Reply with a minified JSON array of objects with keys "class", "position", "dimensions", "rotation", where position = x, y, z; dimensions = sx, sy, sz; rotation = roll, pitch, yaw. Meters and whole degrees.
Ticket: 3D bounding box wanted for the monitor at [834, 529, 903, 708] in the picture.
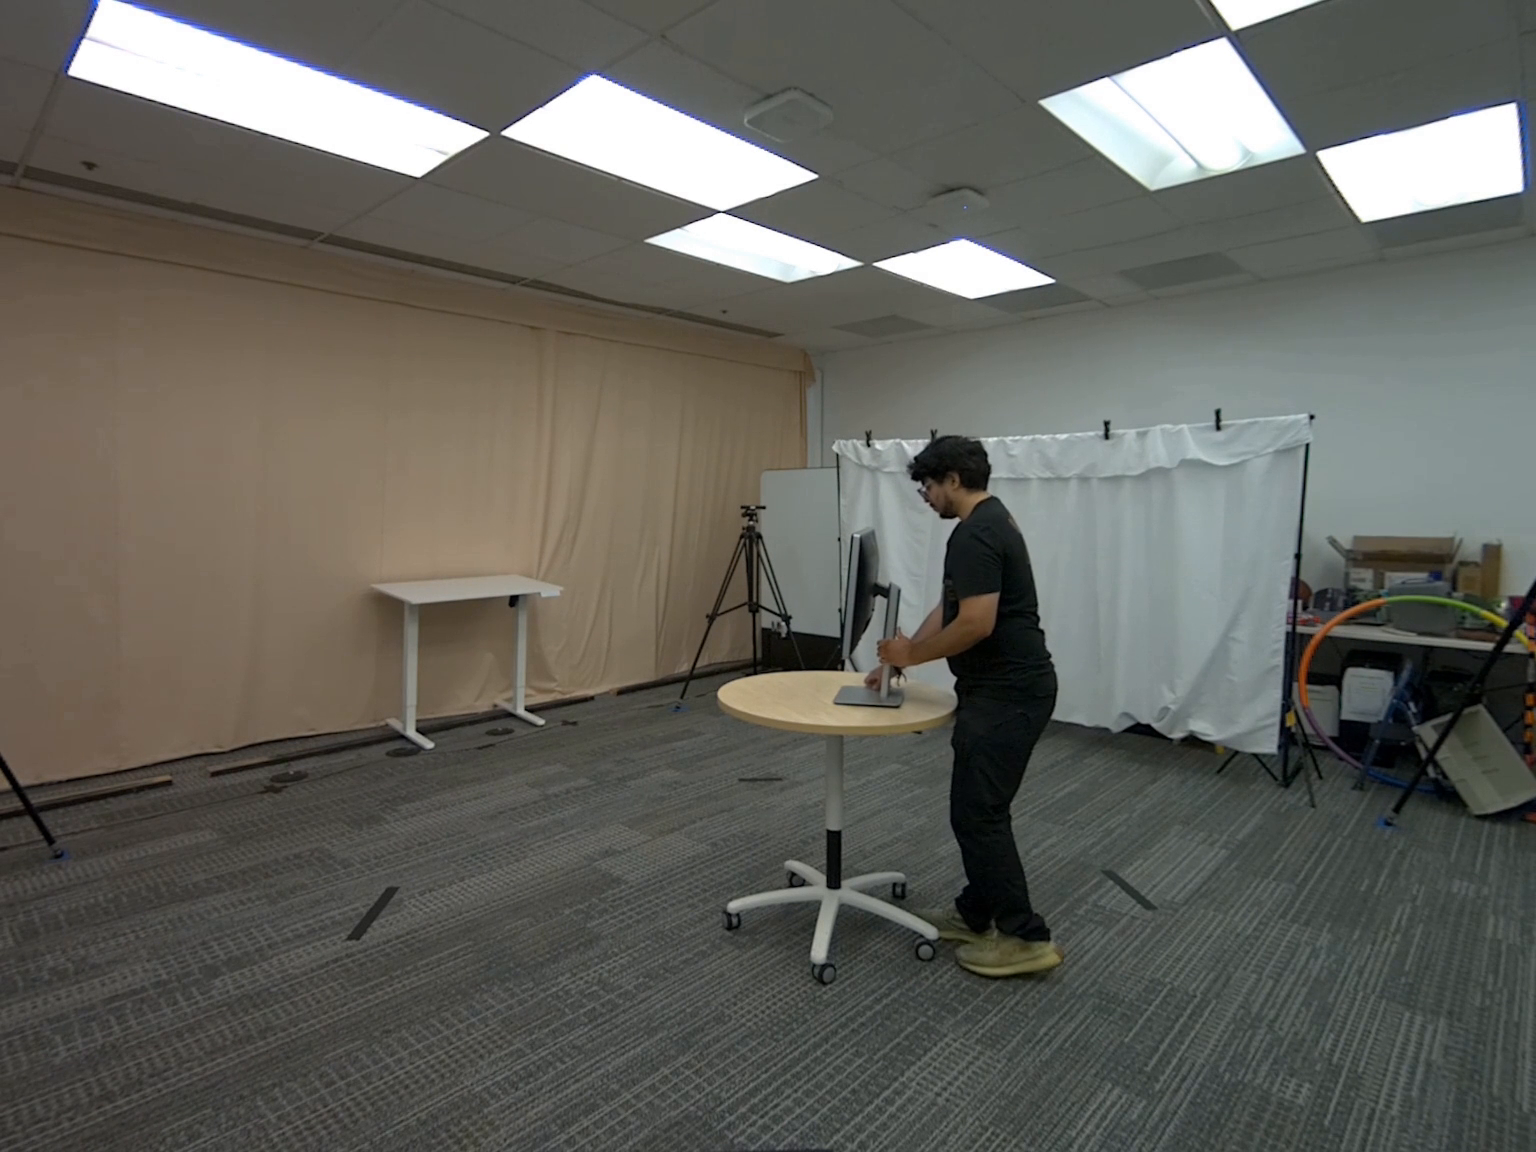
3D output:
[{"class":"monitor","position":[0.359,0.131,2.665],"dimensions":[0.213,0.552,0.558],"rotation":[3,5,12]}]
